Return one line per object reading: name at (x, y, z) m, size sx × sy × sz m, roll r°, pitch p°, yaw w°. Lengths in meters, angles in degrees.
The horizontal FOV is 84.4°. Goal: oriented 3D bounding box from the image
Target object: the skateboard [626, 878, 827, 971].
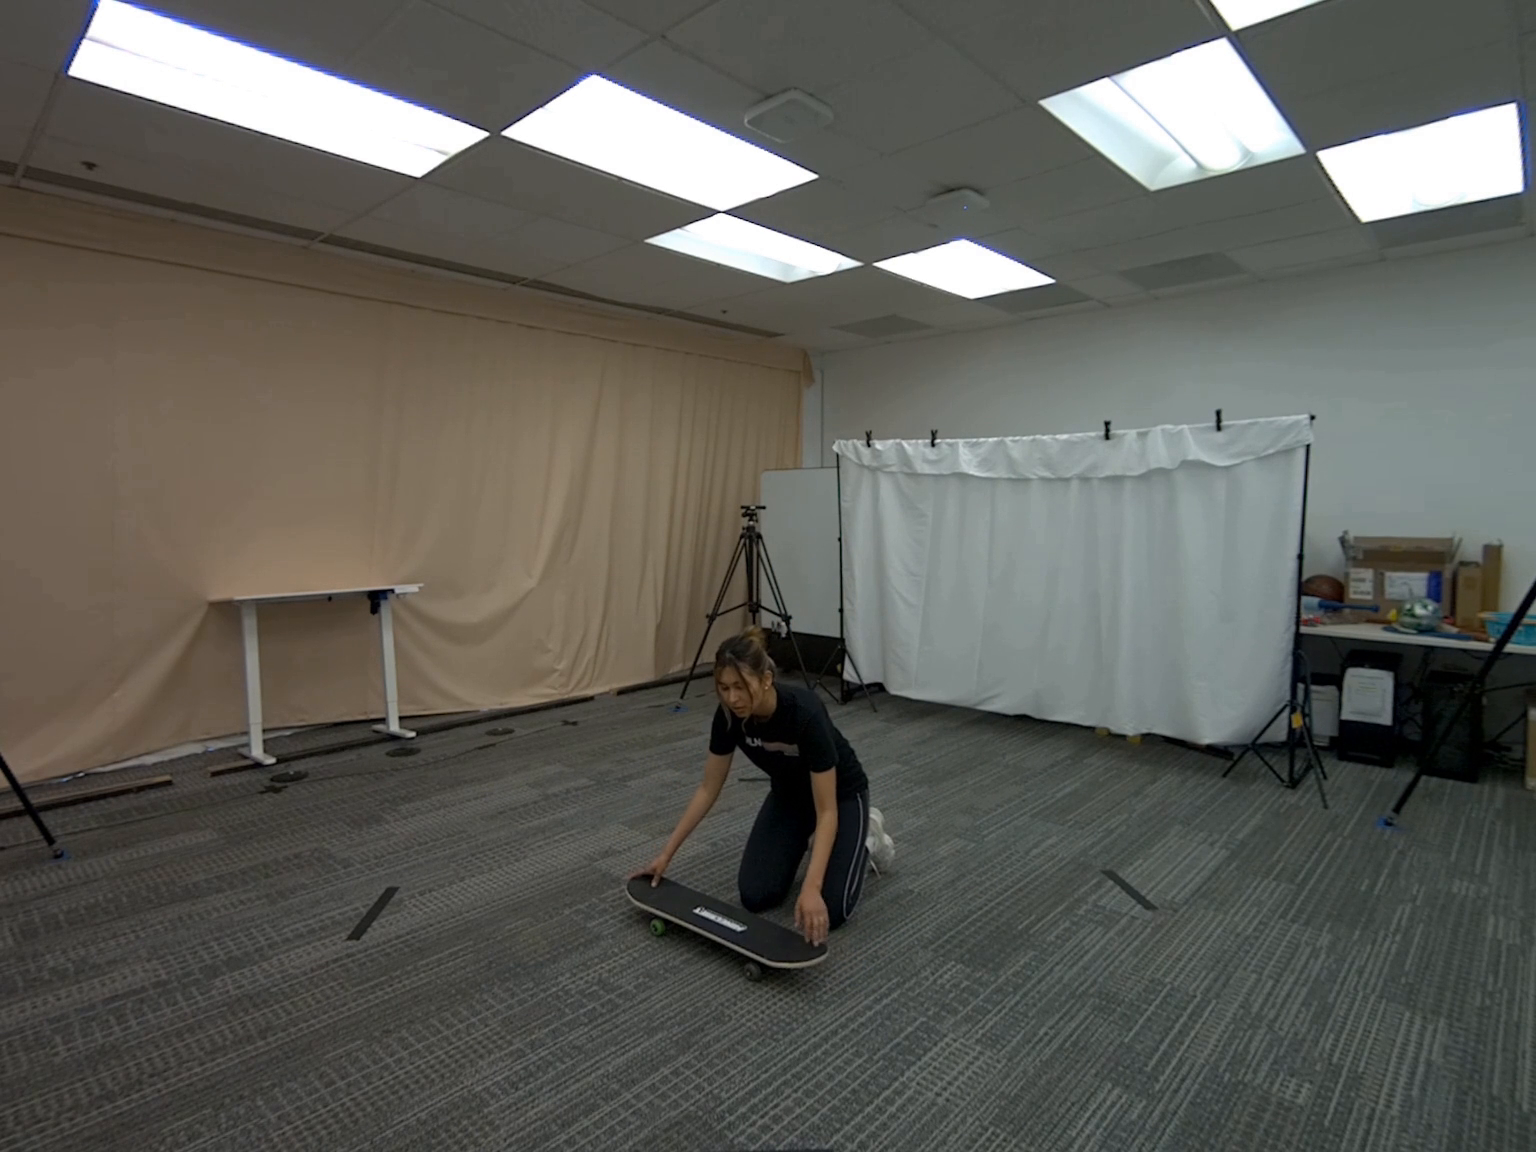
skateboard at (-0.147, 1.111, 2.661) m, size 0.811 × 0.110 × 0.188 m, roll 3°, pitch 5°, yaw 39°
